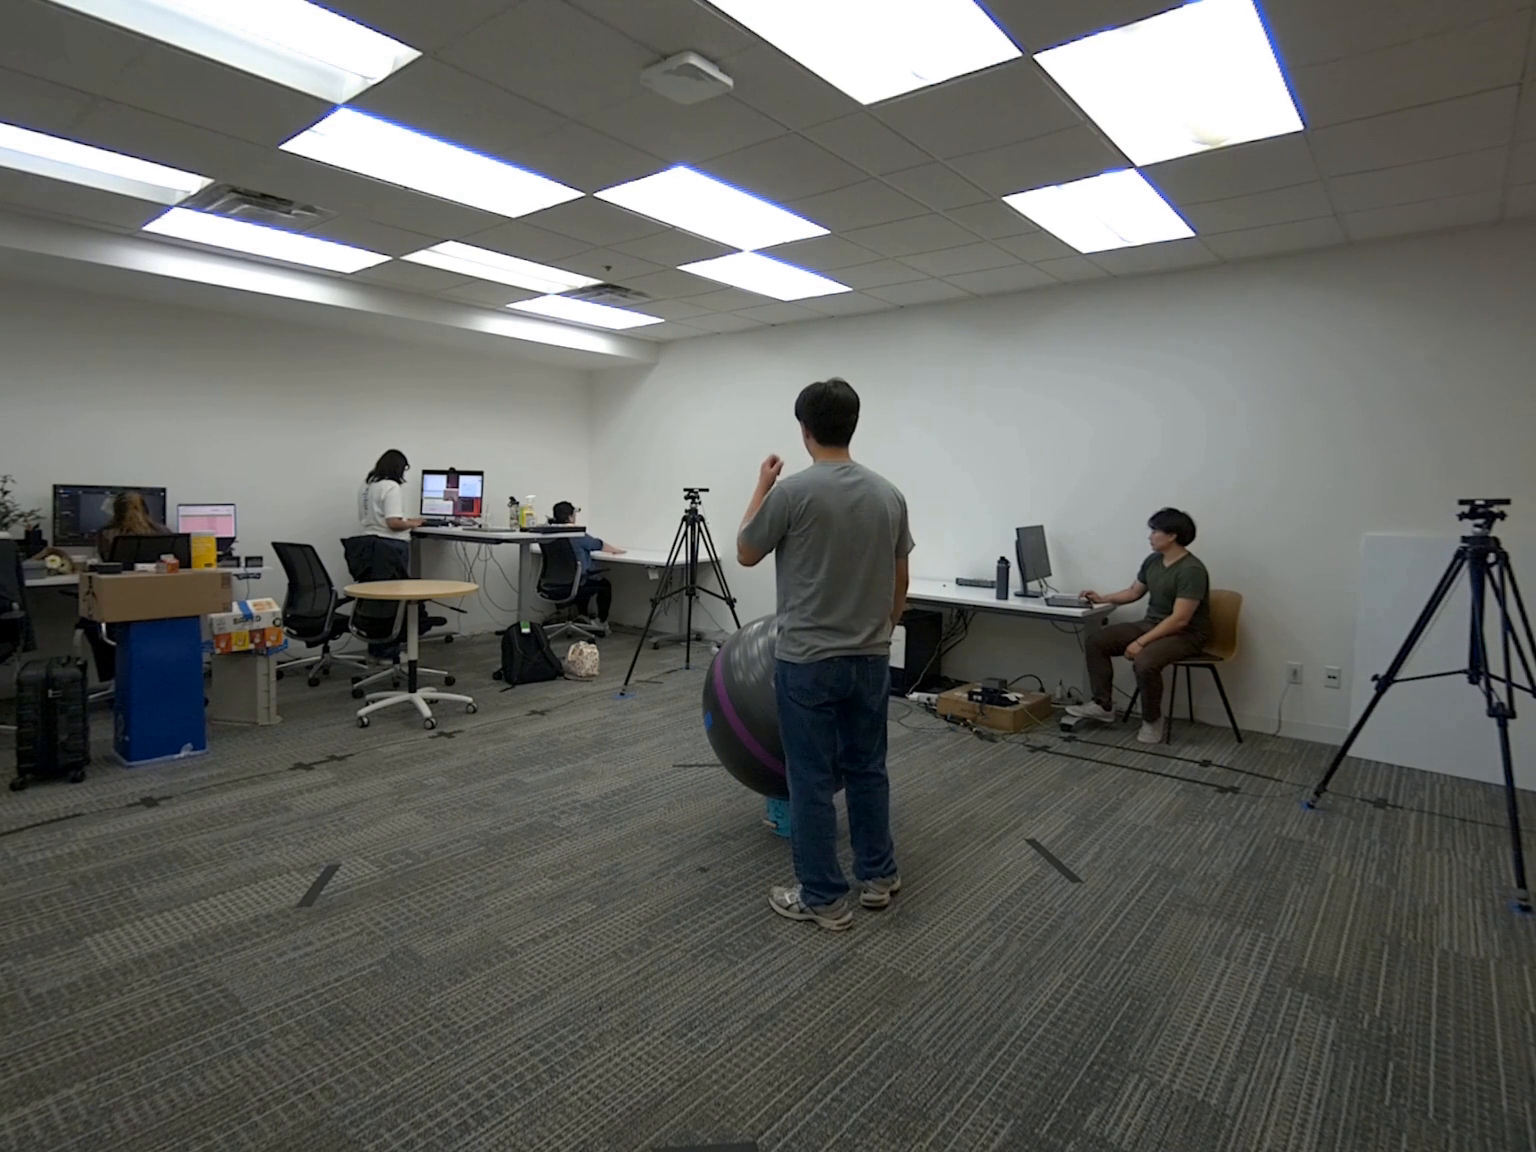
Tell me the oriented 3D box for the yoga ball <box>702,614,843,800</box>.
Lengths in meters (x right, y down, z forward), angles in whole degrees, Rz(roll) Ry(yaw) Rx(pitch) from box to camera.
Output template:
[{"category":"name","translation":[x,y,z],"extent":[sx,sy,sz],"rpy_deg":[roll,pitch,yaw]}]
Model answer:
[{"category":"yoga ball","translation":[0.106,0.531,3.498],"extent":[0.757,0.756,0.761],"rpy_deg":[1,4,-2]}]
